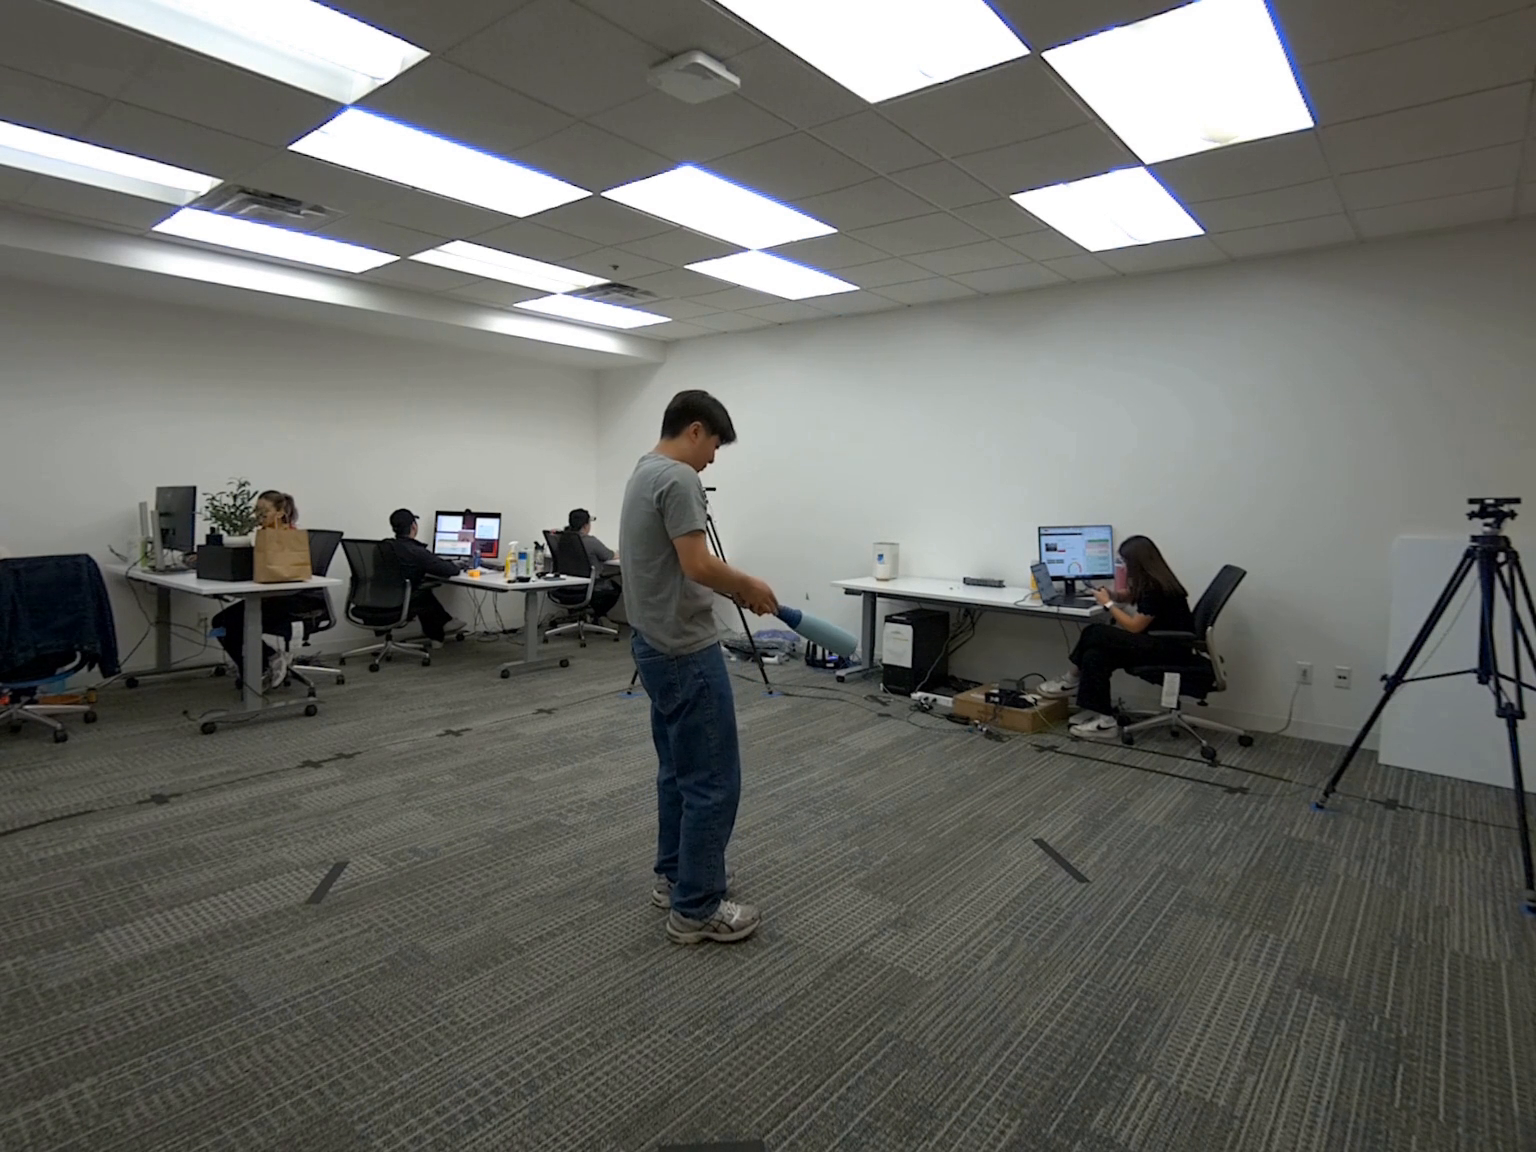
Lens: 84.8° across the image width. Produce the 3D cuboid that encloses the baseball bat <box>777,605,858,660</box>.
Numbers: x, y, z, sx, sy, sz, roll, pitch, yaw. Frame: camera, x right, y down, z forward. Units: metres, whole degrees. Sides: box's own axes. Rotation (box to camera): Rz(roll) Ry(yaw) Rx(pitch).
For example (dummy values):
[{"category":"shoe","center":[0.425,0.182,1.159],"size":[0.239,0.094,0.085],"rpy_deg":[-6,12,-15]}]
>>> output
[{"category":"baseball bat","center":[0.067,0.149,2.835],"size":[0.529,0.089,0.091],"rpy_deg":[26,-5,-19]}]
